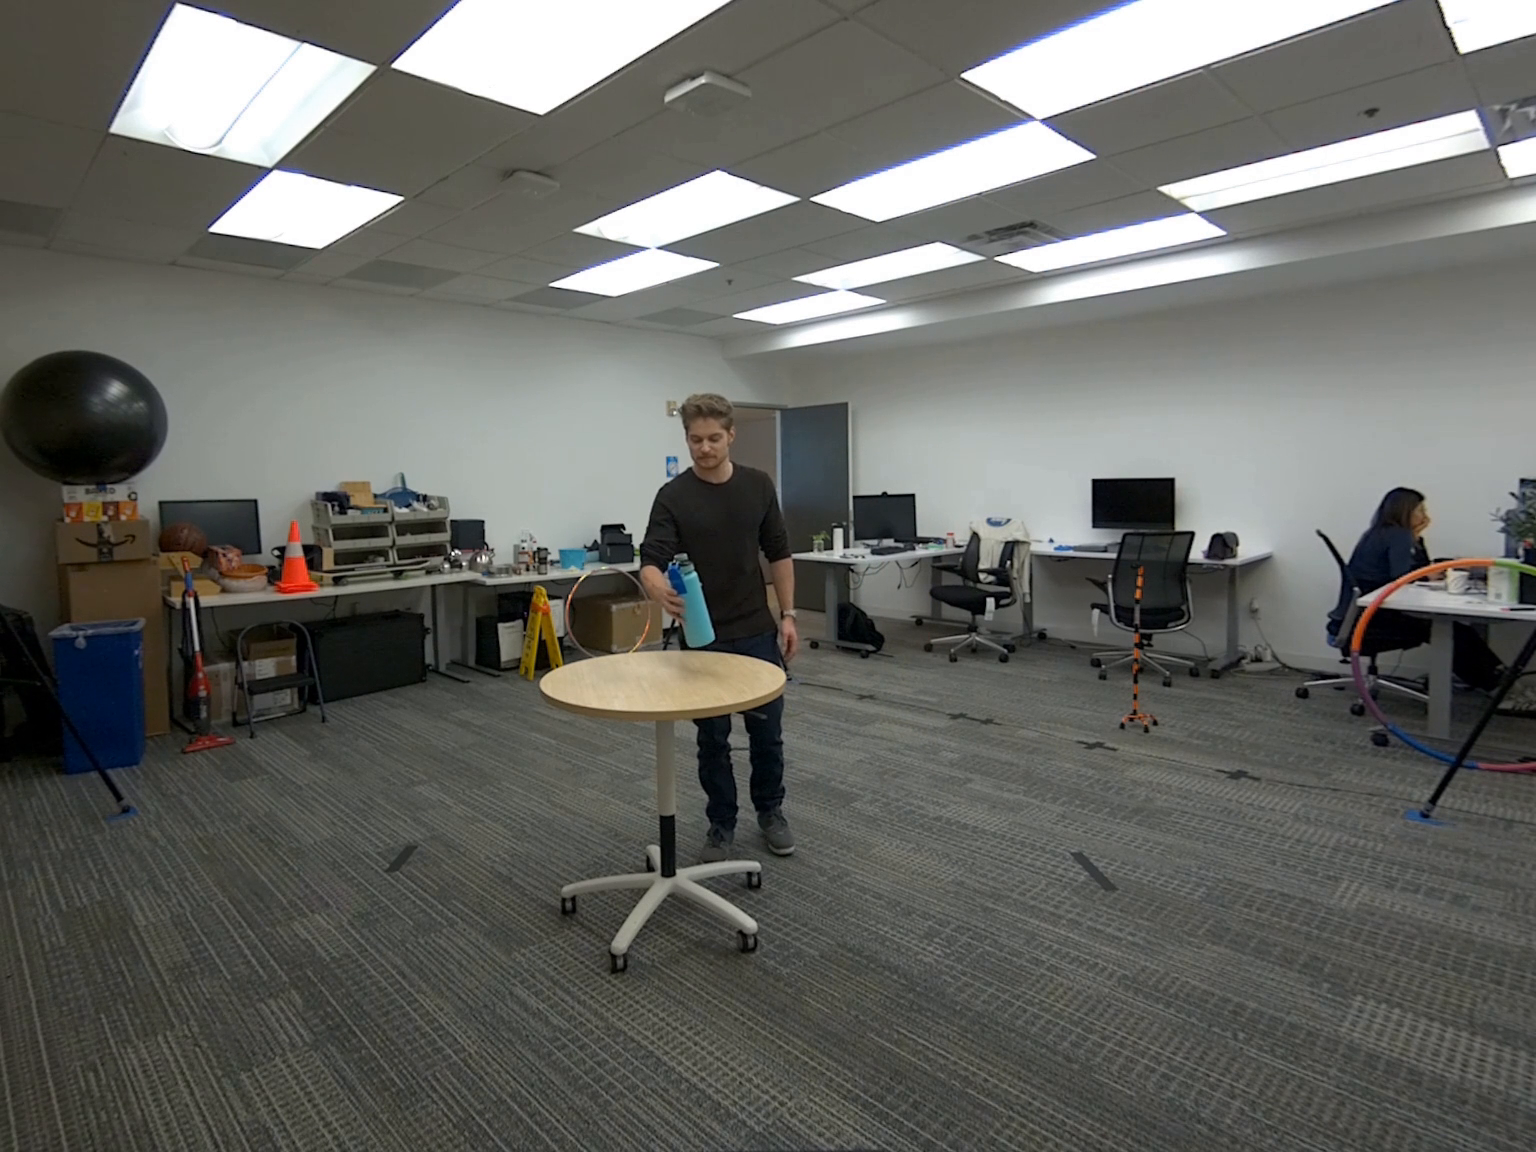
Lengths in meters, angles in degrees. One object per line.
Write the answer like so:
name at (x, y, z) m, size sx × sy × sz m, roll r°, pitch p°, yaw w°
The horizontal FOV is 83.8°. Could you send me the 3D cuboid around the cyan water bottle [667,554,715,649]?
cyan water bottle at (-0.247, 0.077, 2.653) m, size 0.092 × 0.279 × 0.093 m, roll -13°, pitch 12°, yaw 1°
